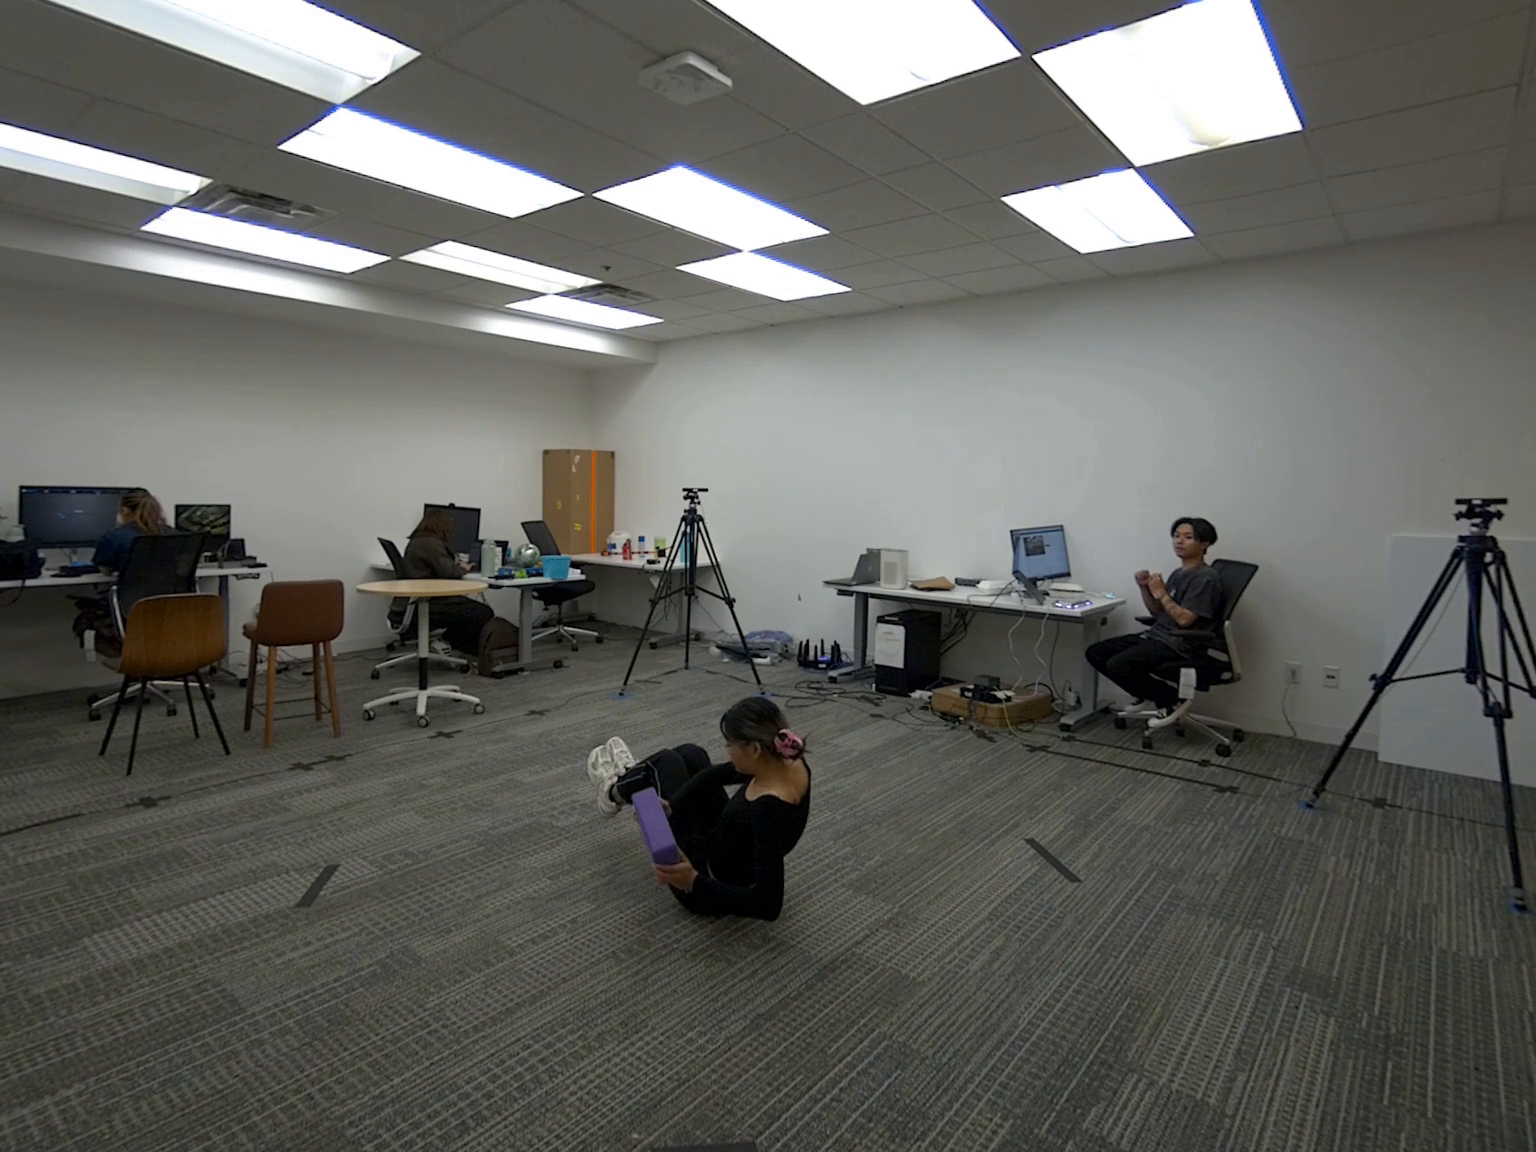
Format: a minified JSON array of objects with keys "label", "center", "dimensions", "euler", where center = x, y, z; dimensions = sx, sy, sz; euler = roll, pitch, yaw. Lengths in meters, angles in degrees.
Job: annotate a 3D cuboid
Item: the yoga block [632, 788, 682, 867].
[{"label":"yoga block","center":[-0.331,0.778,2.579],"dimensions":[0.076,0.144,0.239],"euler":[-20,39,-11]}]
